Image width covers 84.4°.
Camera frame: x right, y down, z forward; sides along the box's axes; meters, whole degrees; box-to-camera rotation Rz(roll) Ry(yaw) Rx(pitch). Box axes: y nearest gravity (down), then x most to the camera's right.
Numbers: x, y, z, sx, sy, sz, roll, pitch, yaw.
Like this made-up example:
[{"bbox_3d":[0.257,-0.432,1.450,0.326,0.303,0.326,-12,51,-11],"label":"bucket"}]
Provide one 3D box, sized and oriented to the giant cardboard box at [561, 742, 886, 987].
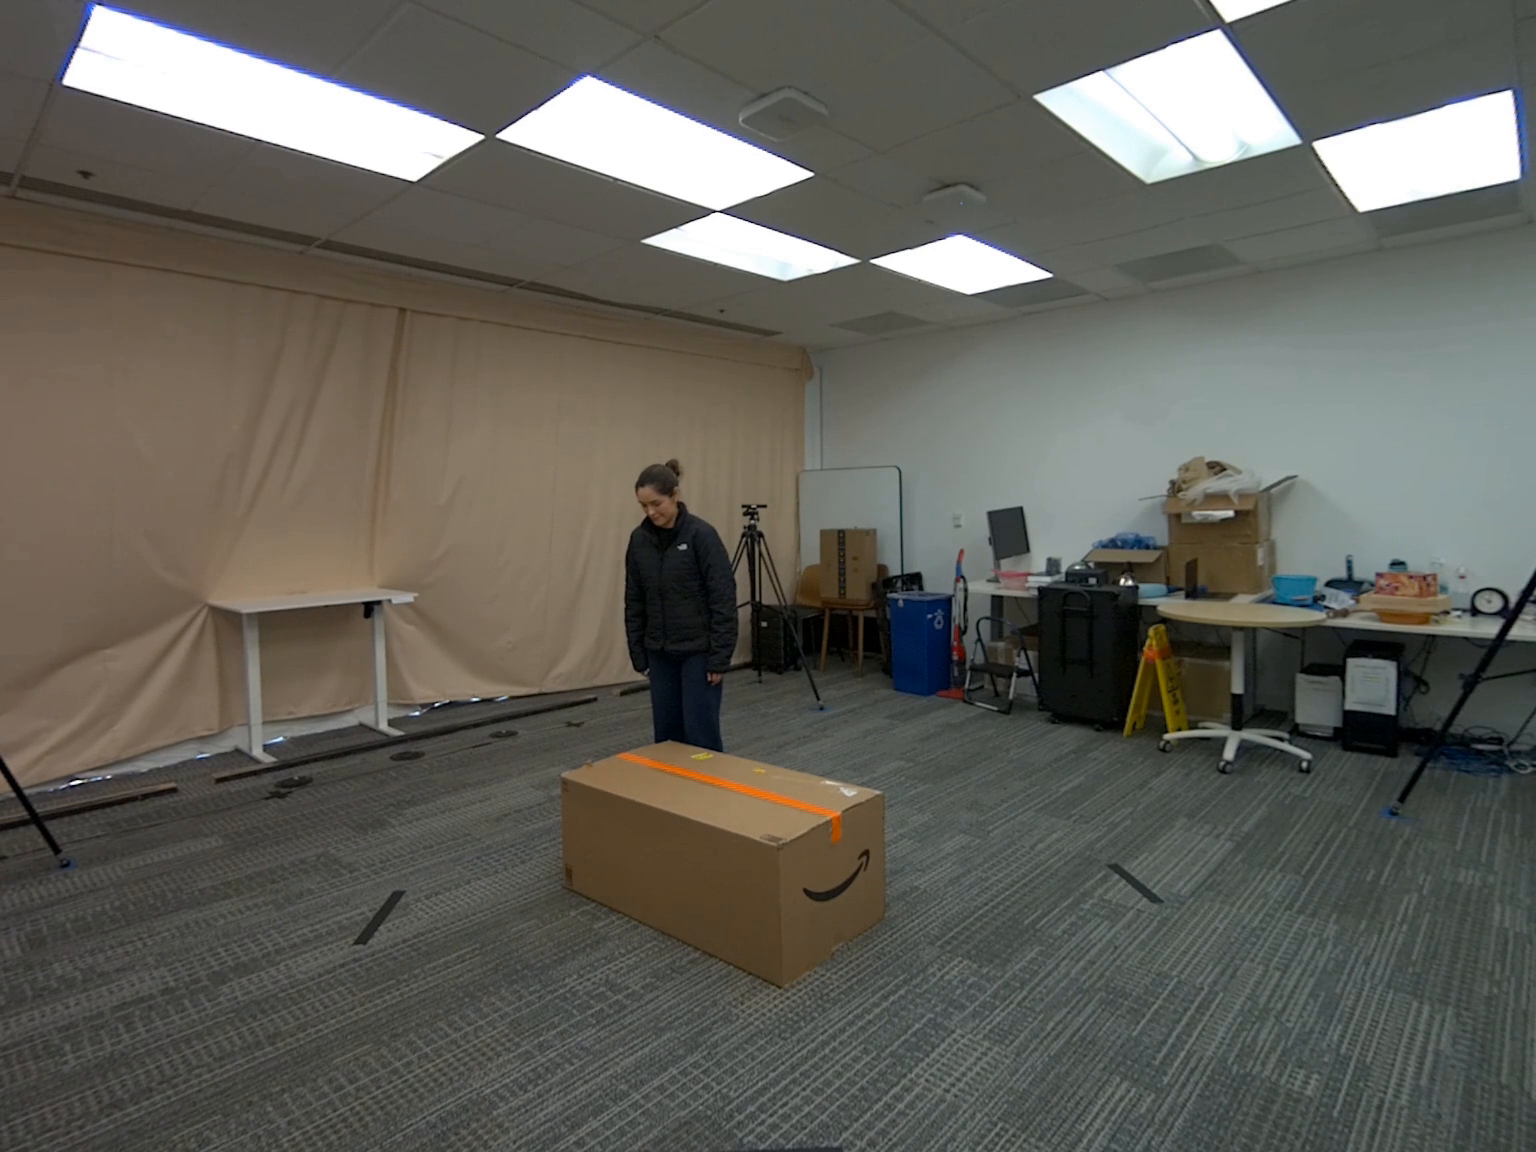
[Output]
[{"bbox_3d":[-0.168,0.934,2.952,1.059,0.425,0.560,3,5,40],"label":"giant cardboard box"}]
